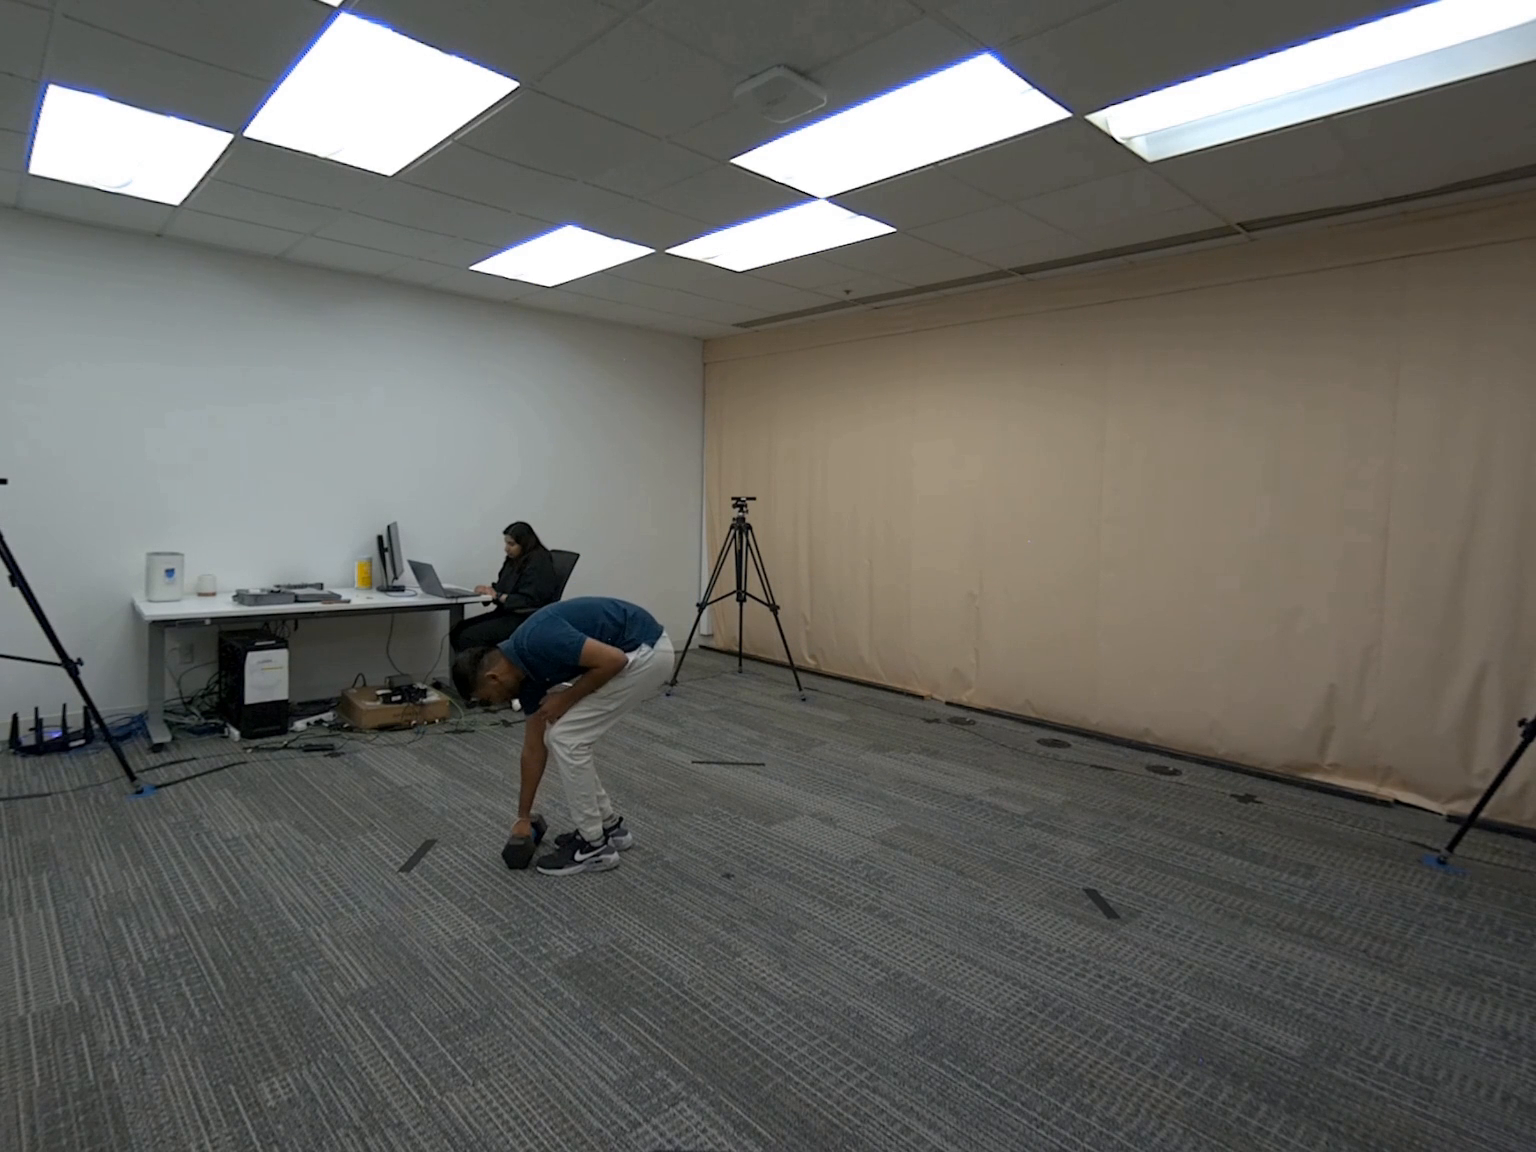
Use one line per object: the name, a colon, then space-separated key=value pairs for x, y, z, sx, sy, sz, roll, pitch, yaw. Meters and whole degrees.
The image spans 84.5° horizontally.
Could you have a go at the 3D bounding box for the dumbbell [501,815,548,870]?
dumbbell: x=-0.936 y=1.005 z=3.255 sx=0.108 sy=0.123 sz=0.294 roll=32 pitch=2 yaw=-4
